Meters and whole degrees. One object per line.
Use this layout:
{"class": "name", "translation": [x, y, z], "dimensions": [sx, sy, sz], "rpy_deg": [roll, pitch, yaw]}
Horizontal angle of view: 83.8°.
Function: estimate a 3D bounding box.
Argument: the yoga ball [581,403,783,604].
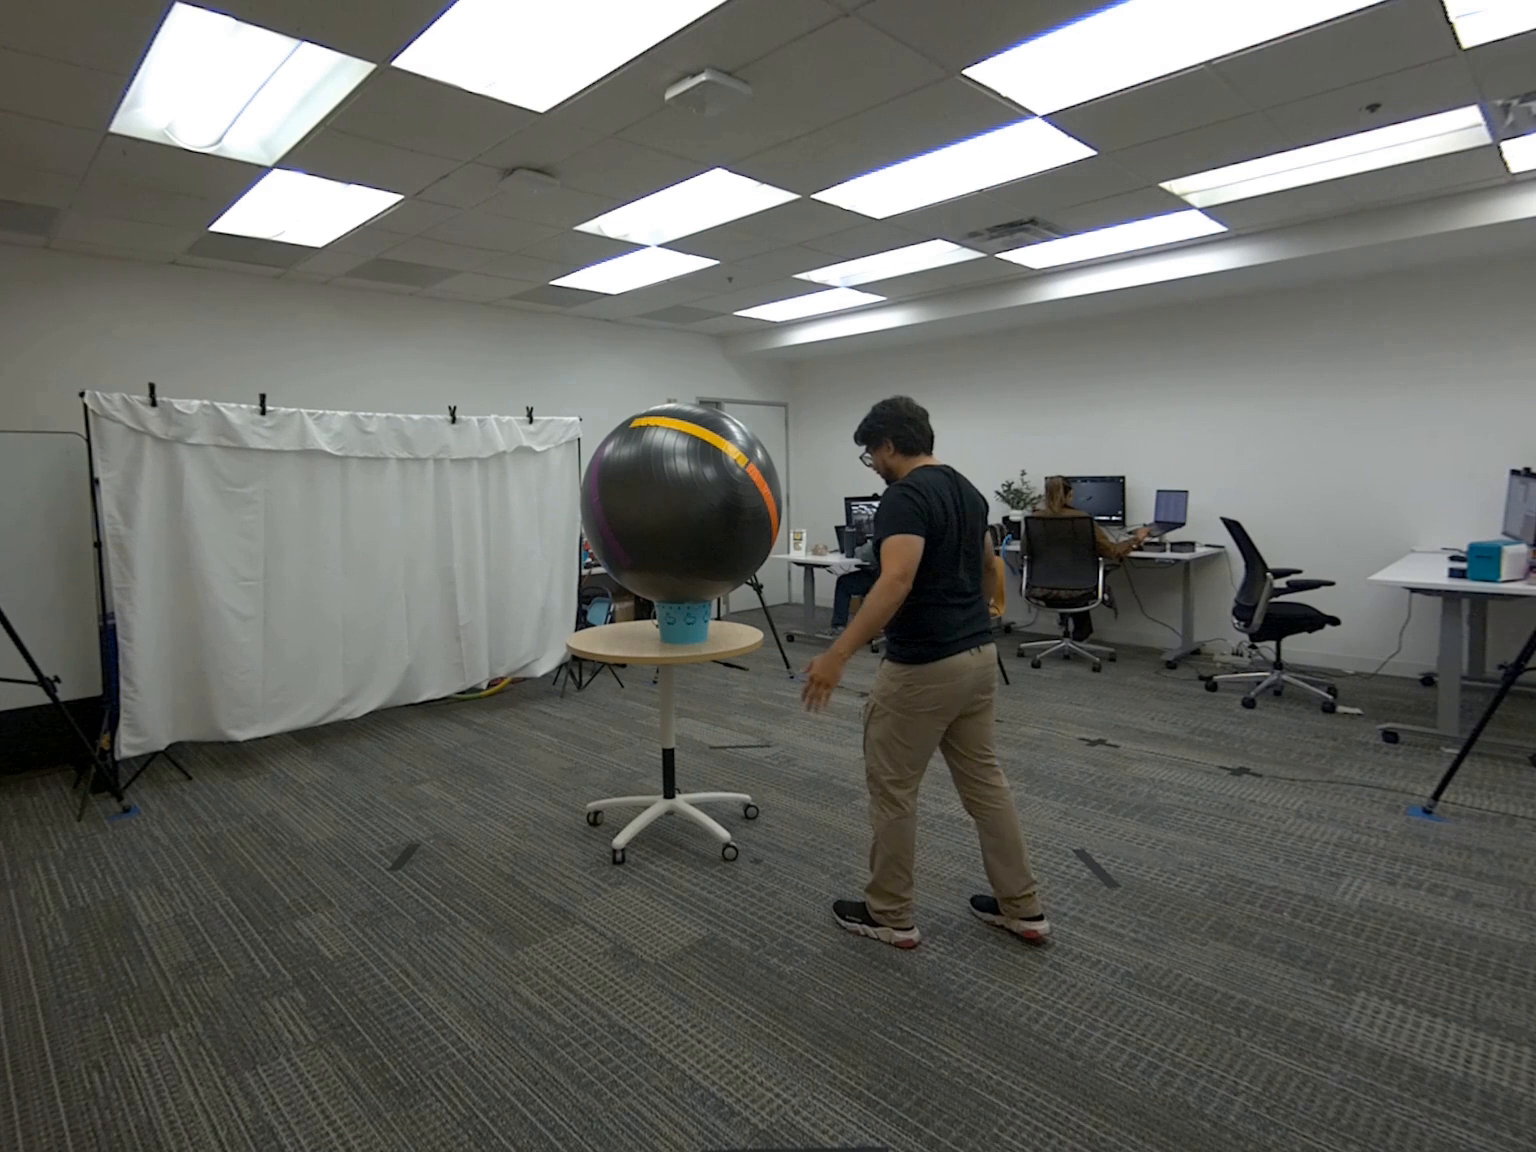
{"class": "yoga ball", "translation": [-0.324, -0.264, 3.224], "dimensions": [0.757, 0.755, 0.762], "rpy_deg": [-1, 5, -2]}
